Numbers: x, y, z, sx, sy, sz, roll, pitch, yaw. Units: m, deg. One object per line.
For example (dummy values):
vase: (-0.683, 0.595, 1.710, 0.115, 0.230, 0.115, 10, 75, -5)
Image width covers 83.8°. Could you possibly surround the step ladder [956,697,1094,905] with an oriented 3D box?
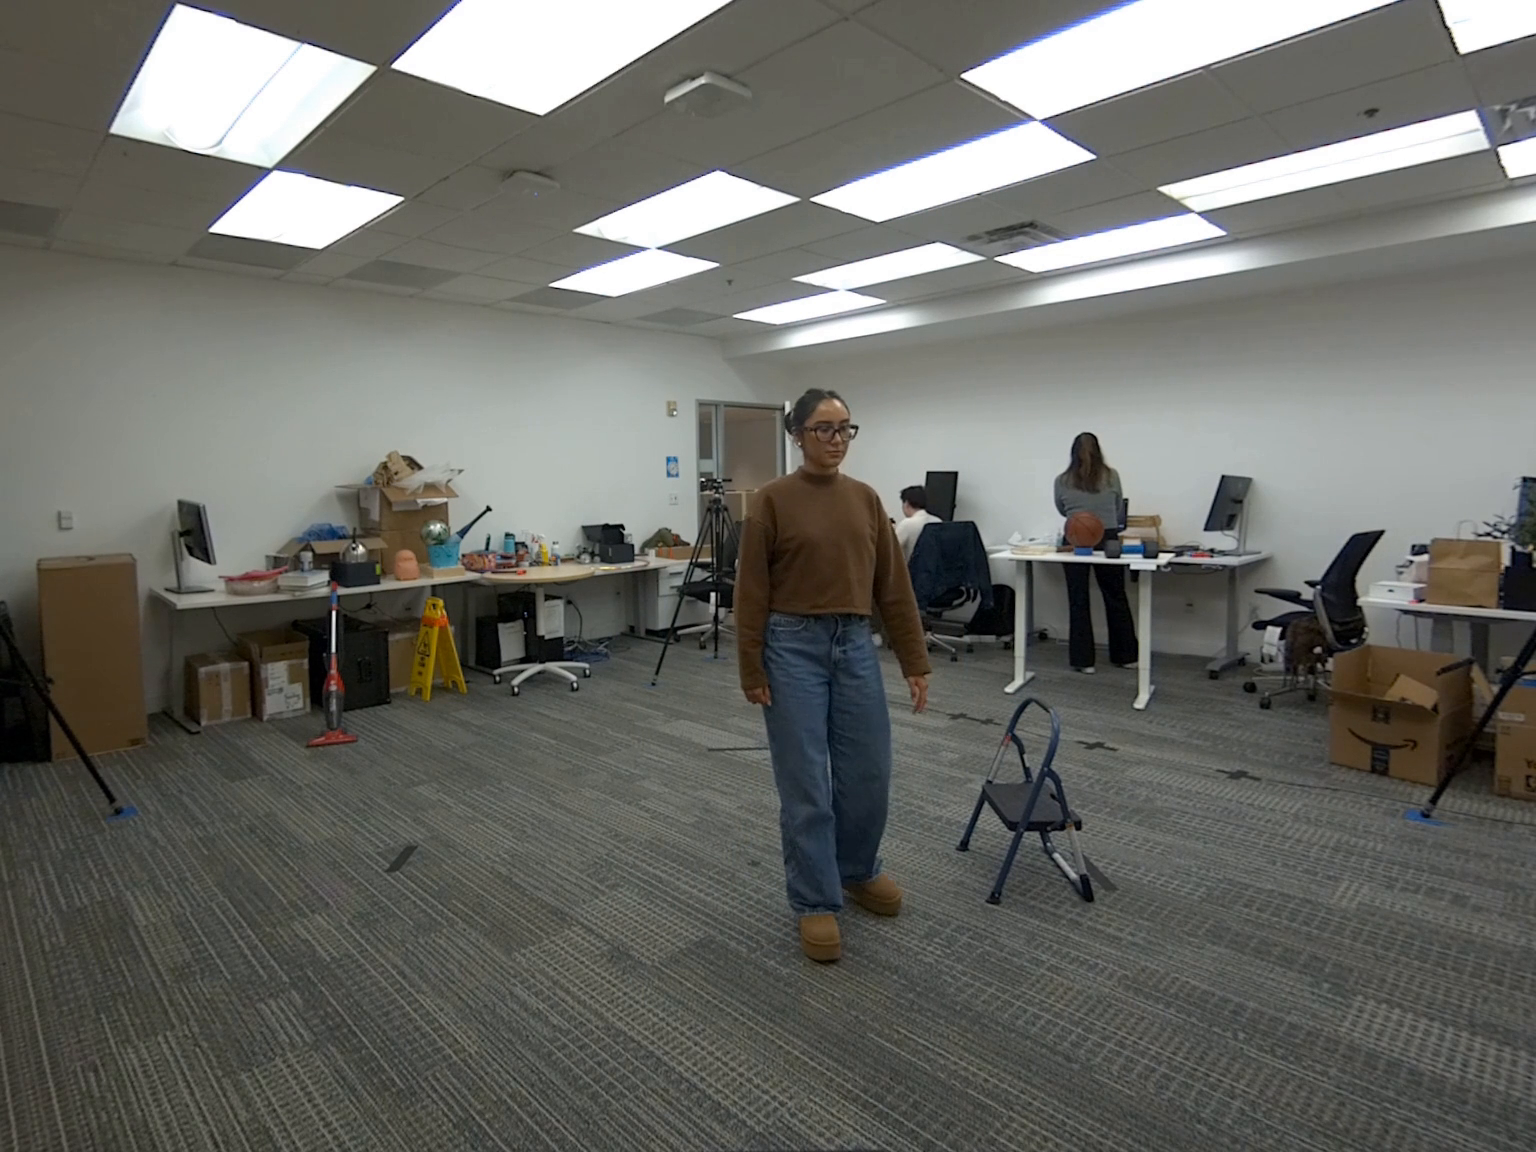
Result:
step ladder: (0.886, 0.742, 2.968, 0.349, 0.604, 0.432, -1, 4, 0)
